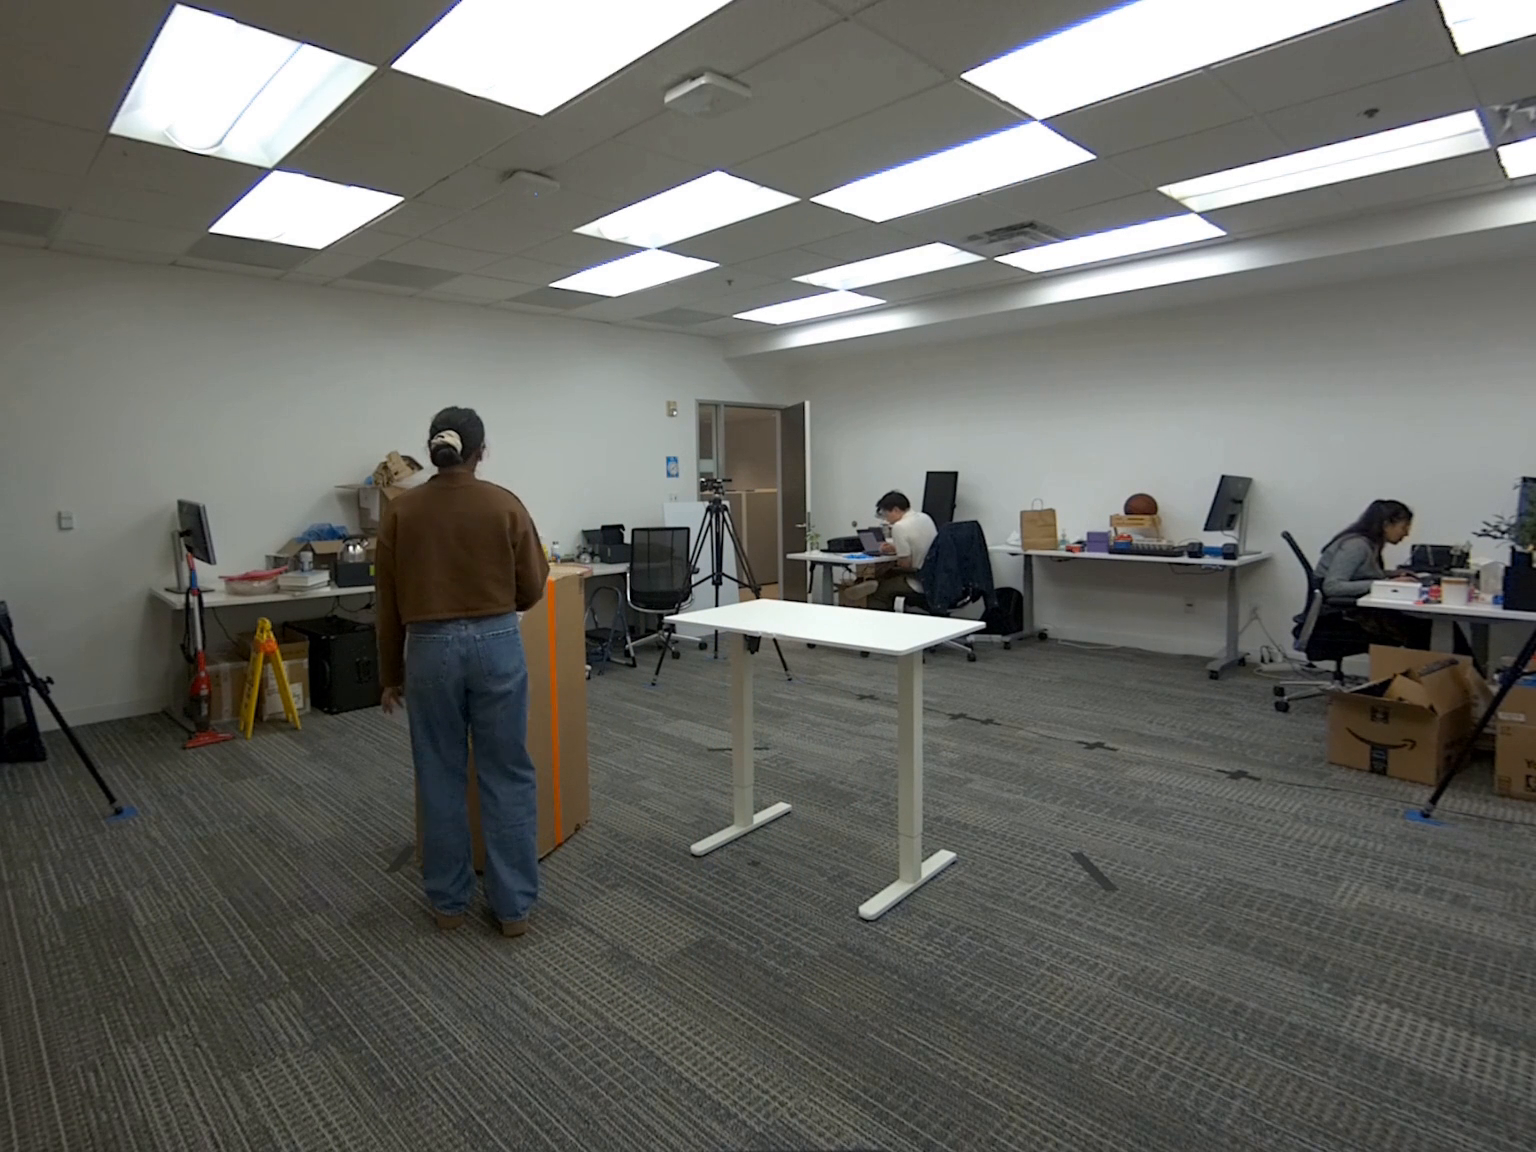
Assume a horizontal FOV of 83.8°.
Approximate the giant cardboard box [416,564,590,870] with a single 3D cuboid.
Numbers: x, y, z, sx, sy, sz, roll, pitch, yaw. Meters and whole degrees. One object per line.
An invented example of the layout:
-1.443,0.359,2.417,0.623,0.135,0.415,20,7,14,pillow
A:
-1.014,0.517,3.332,0.433,1.025,0.568,-1,1,17,giant cardboard box
